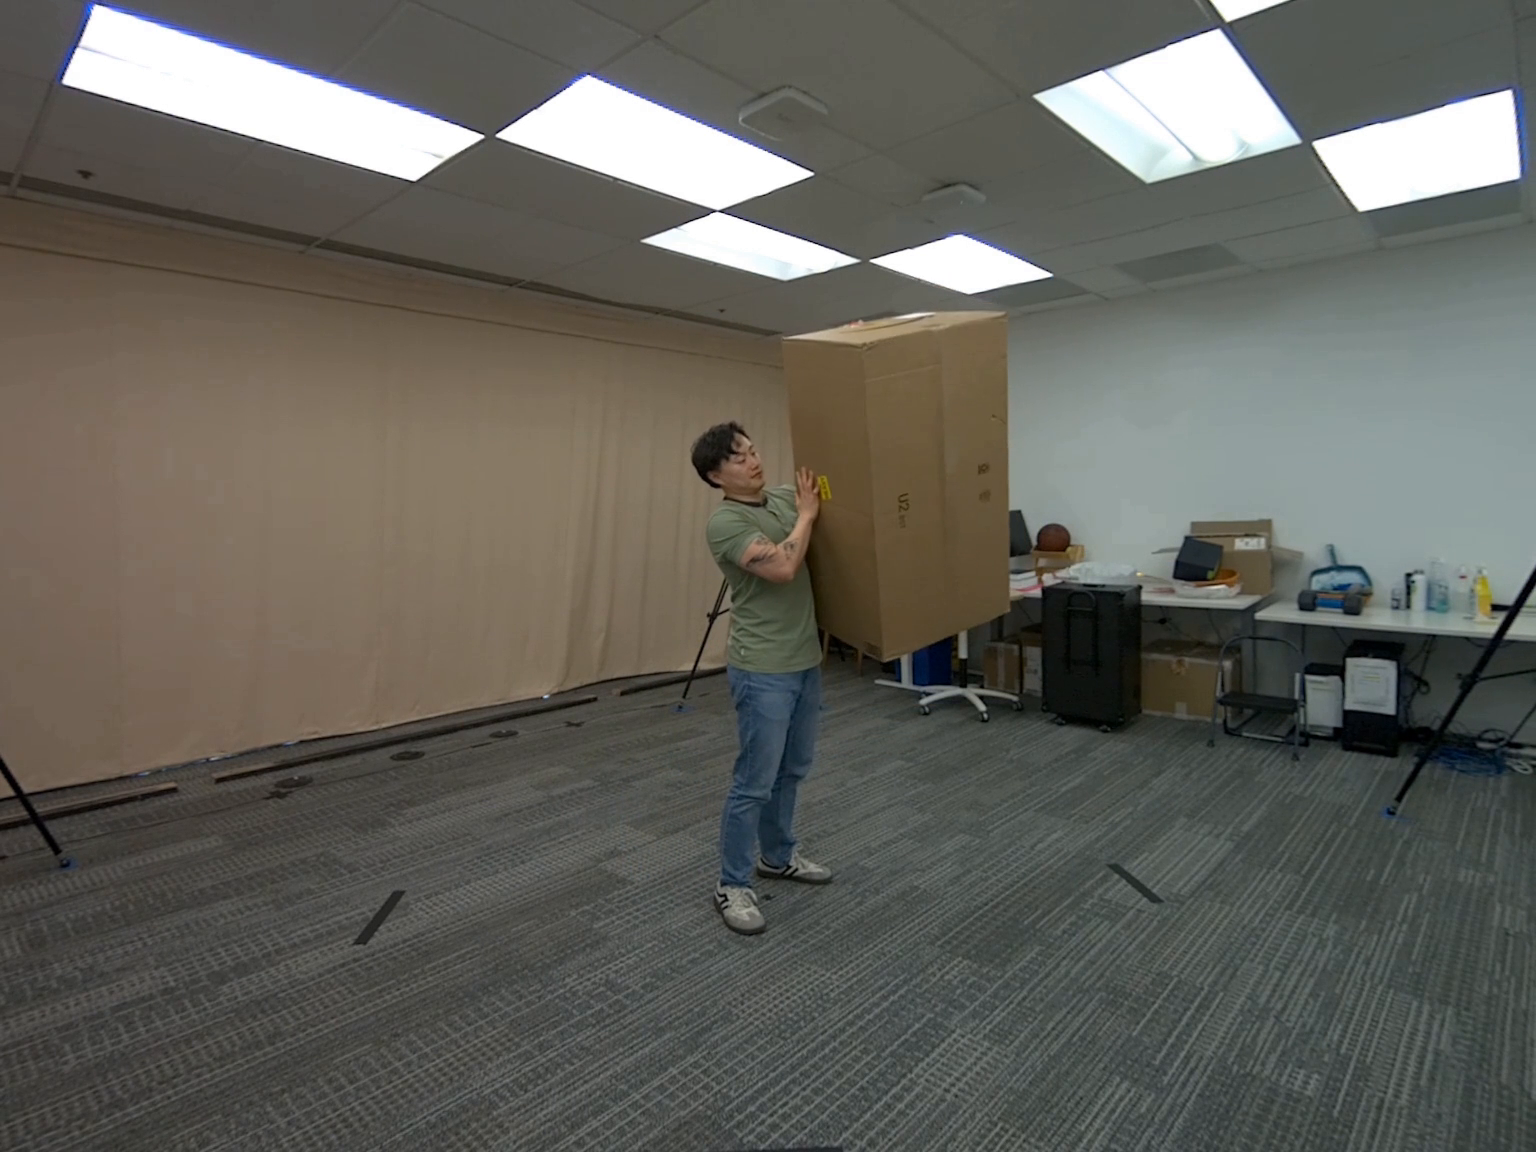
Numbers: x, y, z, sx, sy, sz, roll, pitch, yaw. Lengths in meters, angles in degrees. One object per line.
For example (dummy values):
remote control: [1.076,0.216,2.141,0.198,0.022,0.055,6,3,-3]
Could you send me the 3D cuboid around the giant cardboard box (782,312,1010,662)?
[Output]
giant cardboard box: [0.452,-0.322,2.834,0.566,1.011,0.441,-18,23,-27]
